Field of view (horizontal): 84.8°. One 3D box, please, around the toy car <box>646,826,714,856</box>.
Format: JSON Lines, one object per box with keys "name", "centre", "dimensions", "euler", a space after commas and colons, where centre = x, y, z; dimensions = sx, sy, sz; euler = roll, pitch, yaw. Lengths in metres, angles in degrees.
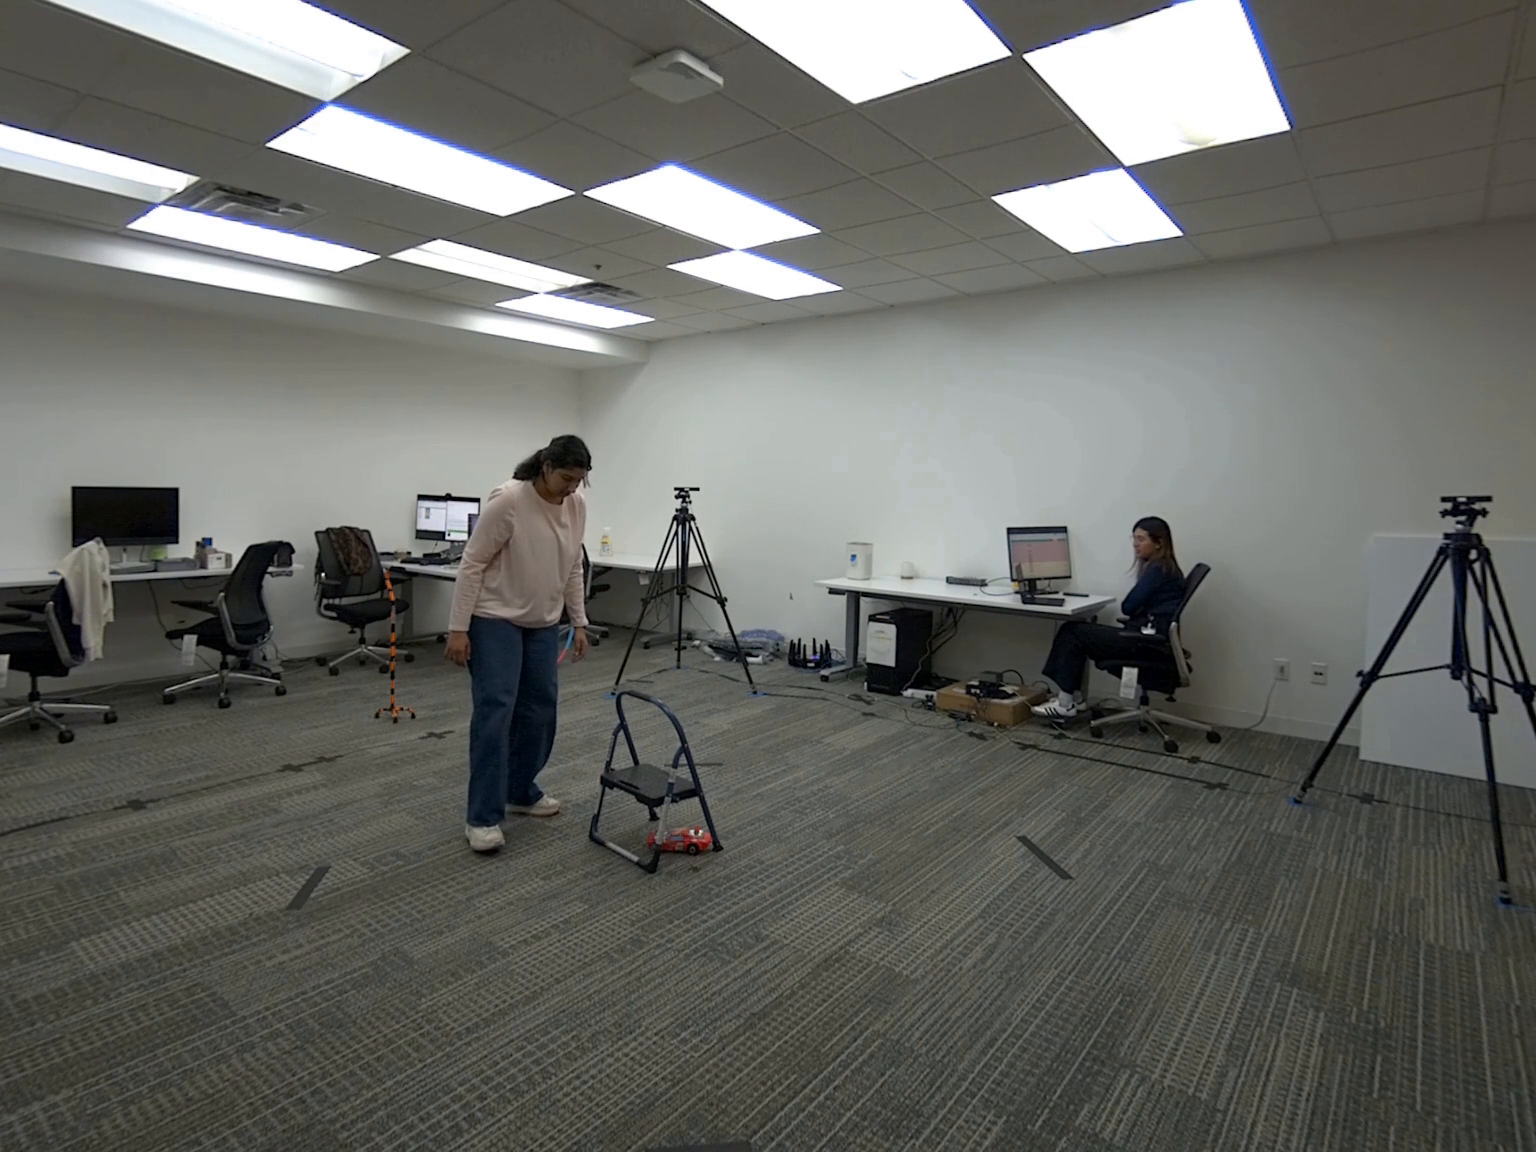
{"name": "toy car", "centre": [-0.346, 1.018, 3.272], "dimensions": [0.255, 0.083, 0.130], "euler": [-10, 5, 3]}
